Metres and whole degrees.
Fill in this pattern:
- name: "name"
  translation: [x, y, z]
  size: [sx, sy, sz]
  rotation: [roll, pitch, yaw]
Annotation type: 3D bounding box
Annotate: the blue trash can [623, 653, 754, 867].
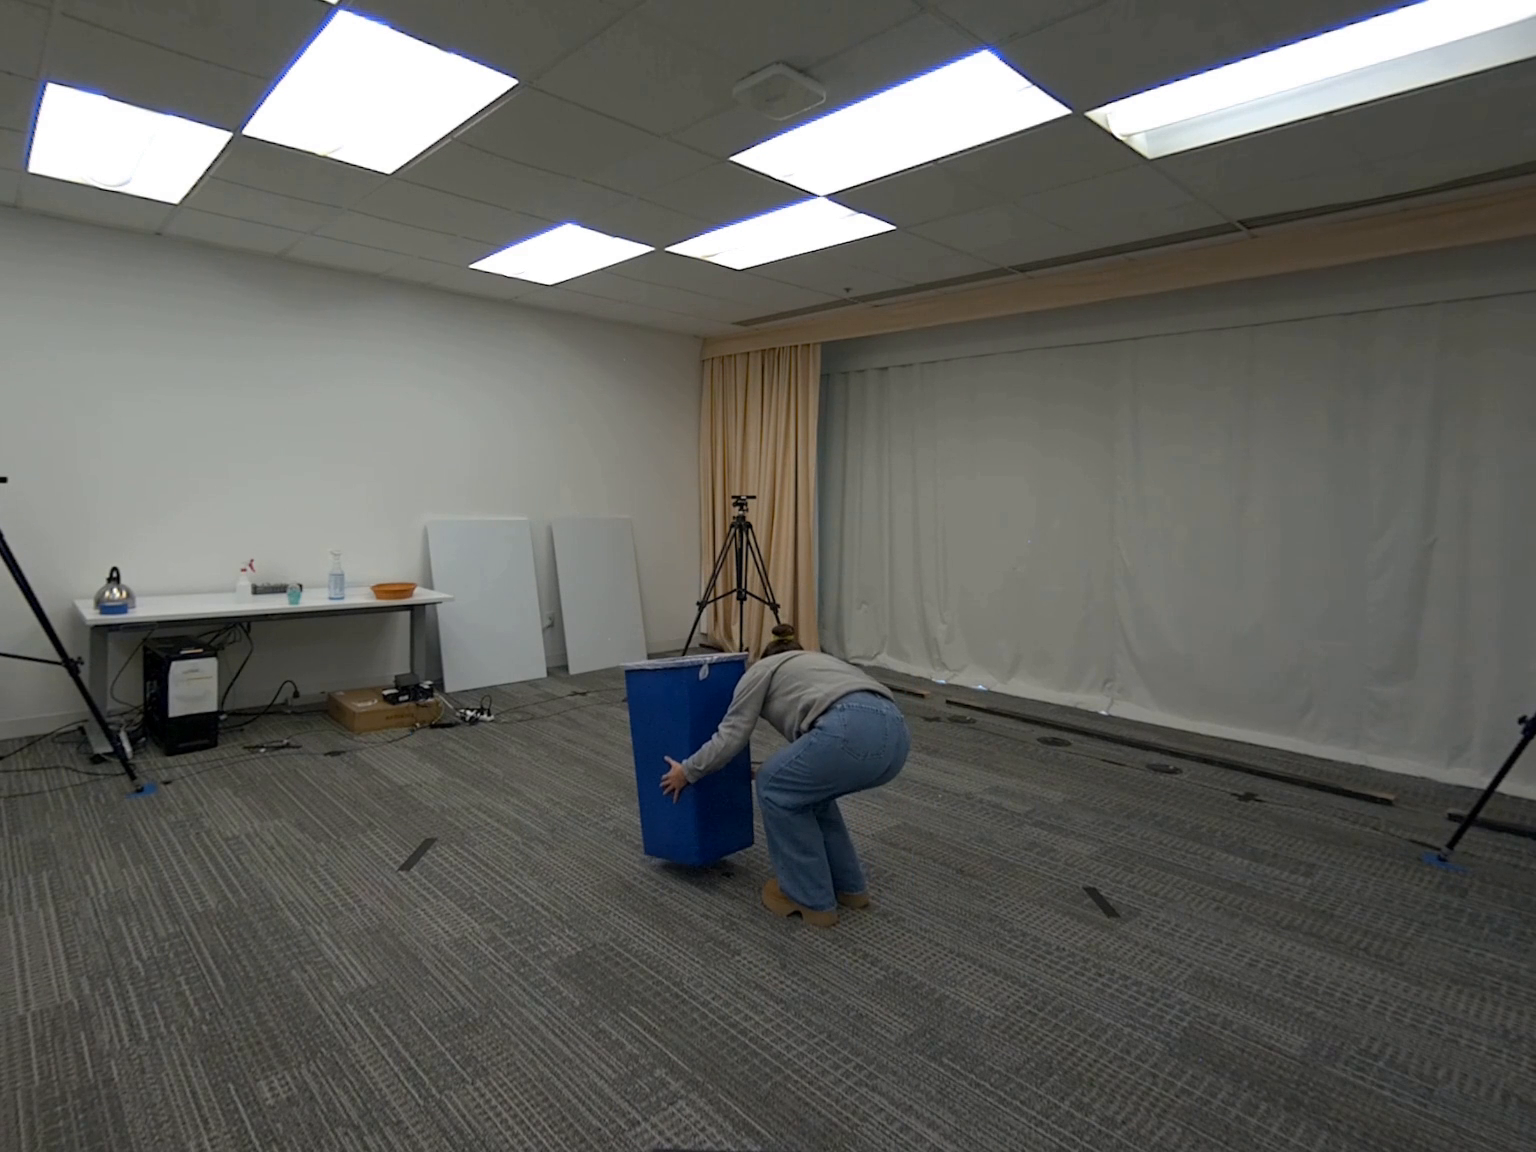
- name: "blue trash can"
  translation: [-0.294, 0.667, 3.175]
  size: [0.381, 0.717, 0.369]
  rotation: [-9, -7, 41]
